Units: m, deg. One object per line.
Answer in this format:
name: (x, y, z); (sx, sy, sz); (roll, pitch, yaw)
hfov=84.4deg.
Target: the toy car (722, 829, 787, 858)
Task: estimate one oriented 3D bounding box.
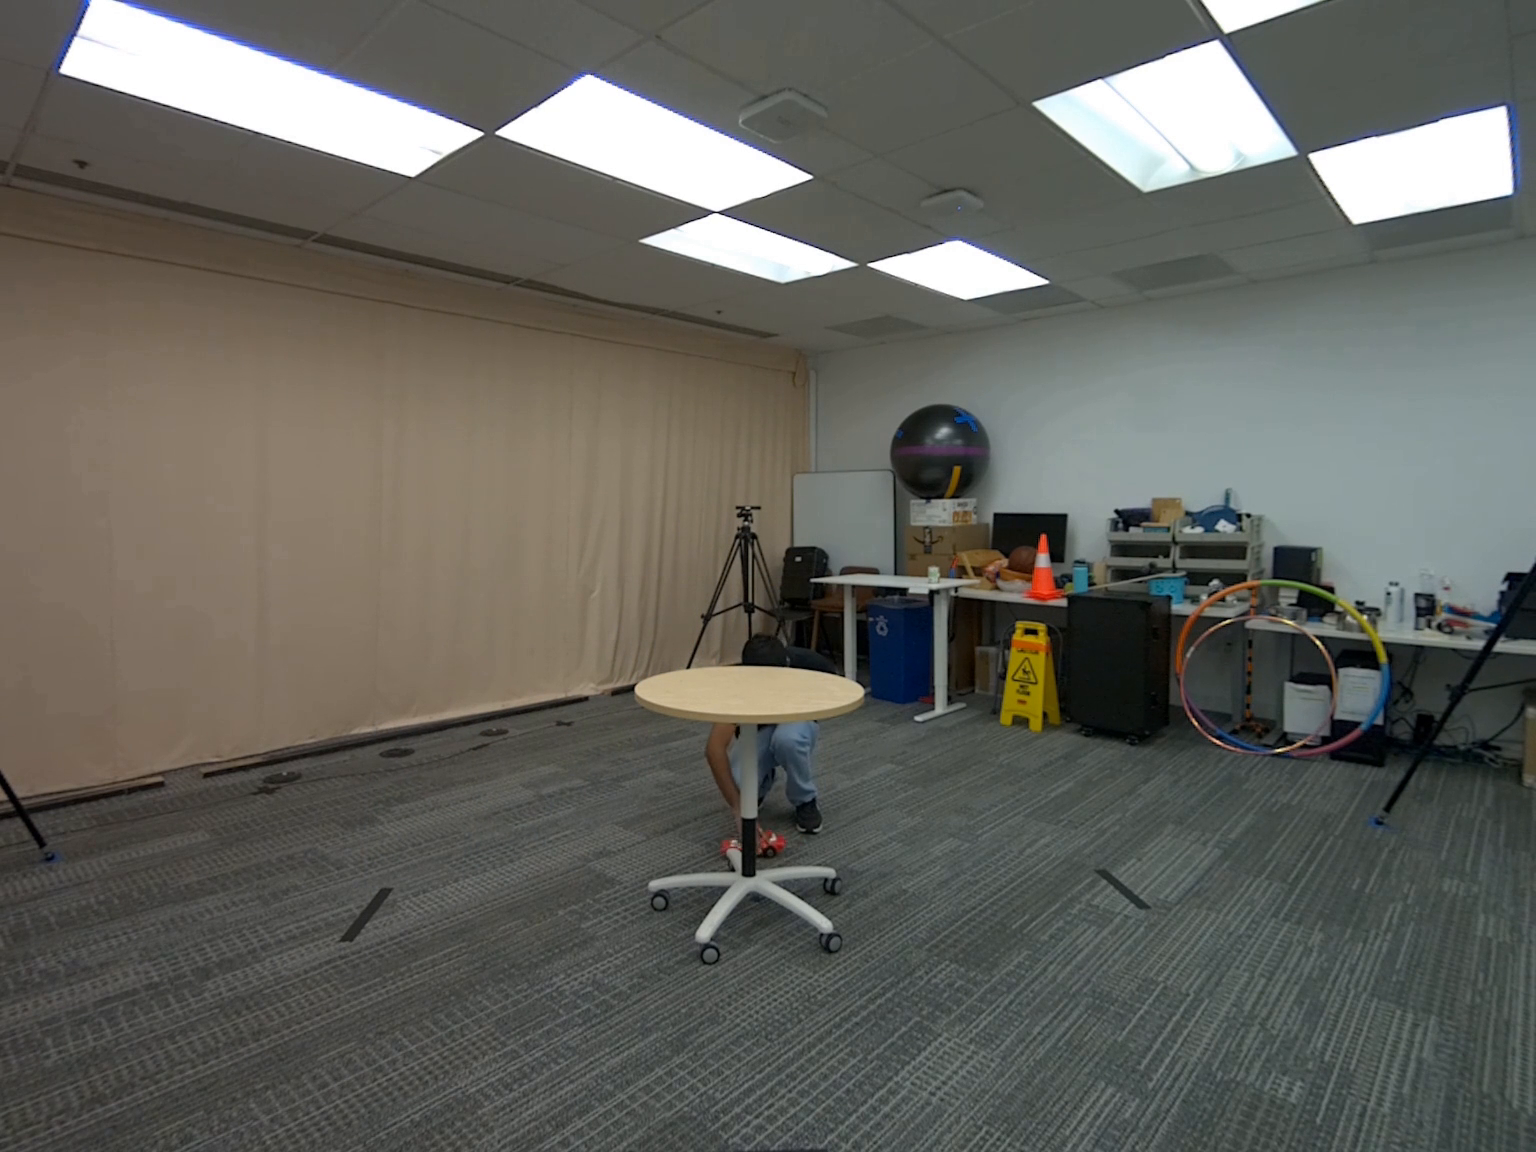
toy car: (-0.056, 1.076, 3.373); (0.253, 0.083, 0.132); (-13, 7, -7)
